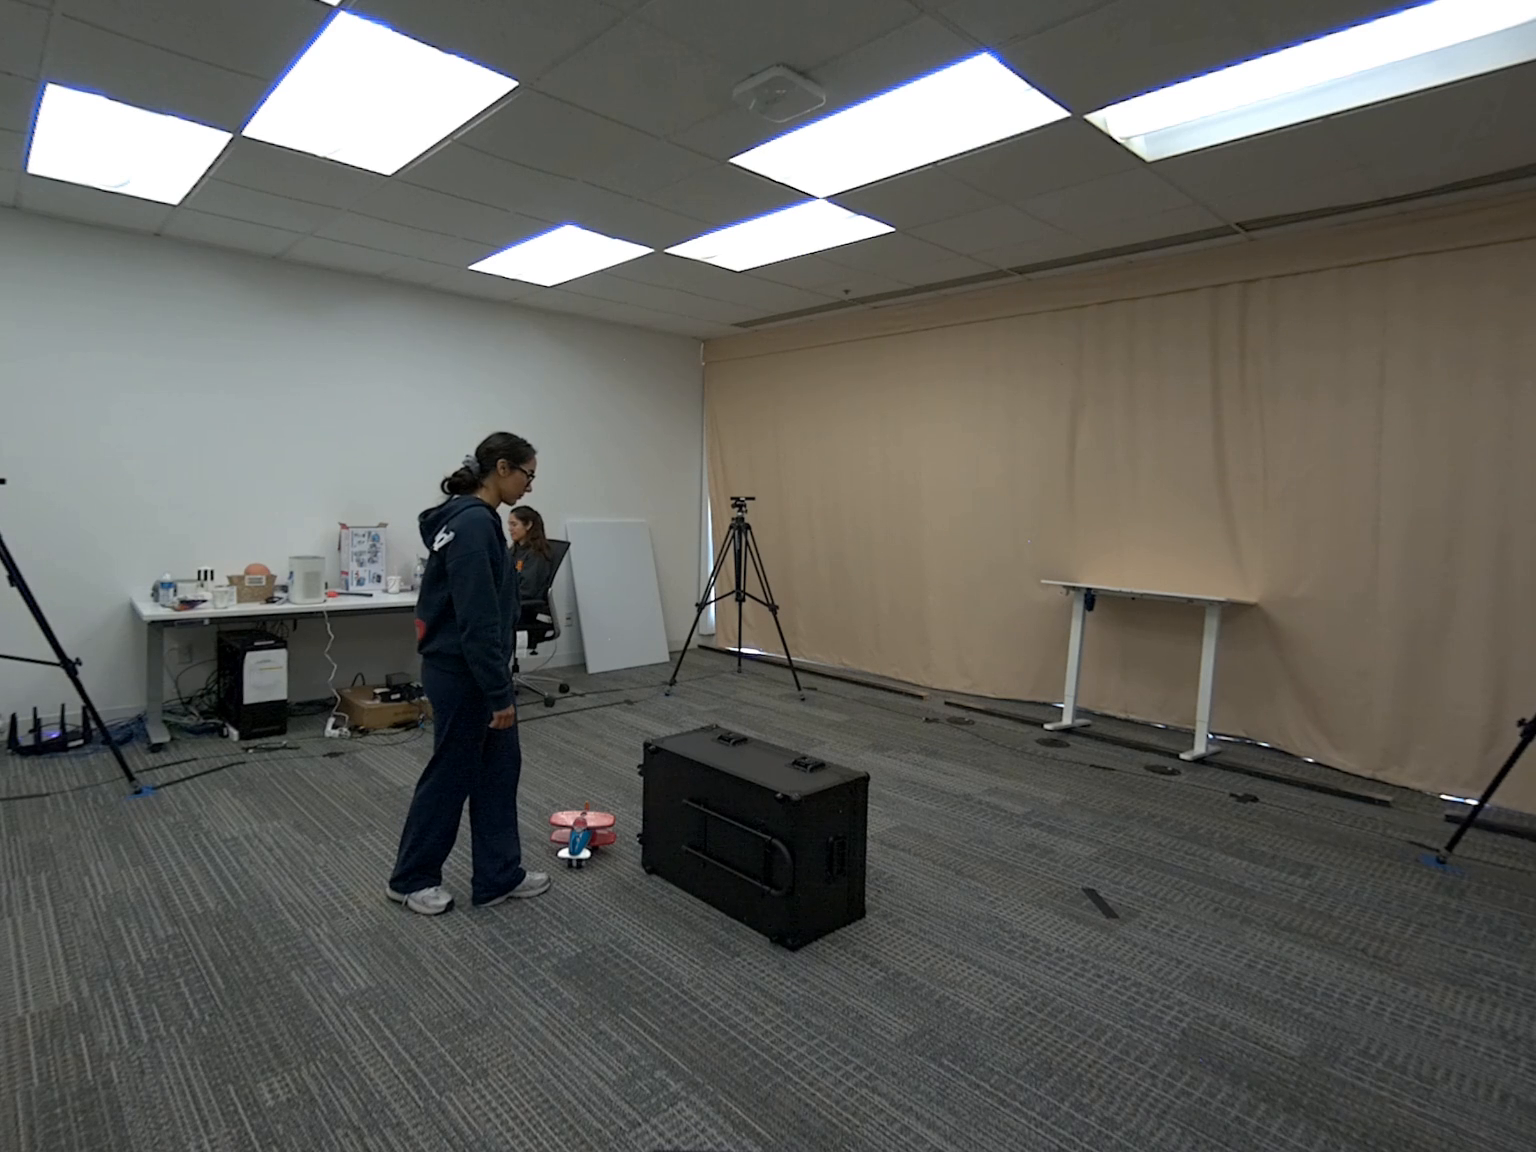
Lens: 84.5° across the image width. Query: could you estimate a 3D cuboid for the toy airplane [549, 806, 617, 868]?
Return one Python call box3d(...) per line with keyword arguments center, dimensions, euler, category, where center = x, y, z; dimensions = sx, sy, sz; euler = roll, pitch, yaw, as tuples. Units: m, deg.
box3d(center=(-0.706, 1.001, 3.244), dimensions=(0.246, 0.156, 0.264), euler=(0, 3, -26), category="toy airplane")
